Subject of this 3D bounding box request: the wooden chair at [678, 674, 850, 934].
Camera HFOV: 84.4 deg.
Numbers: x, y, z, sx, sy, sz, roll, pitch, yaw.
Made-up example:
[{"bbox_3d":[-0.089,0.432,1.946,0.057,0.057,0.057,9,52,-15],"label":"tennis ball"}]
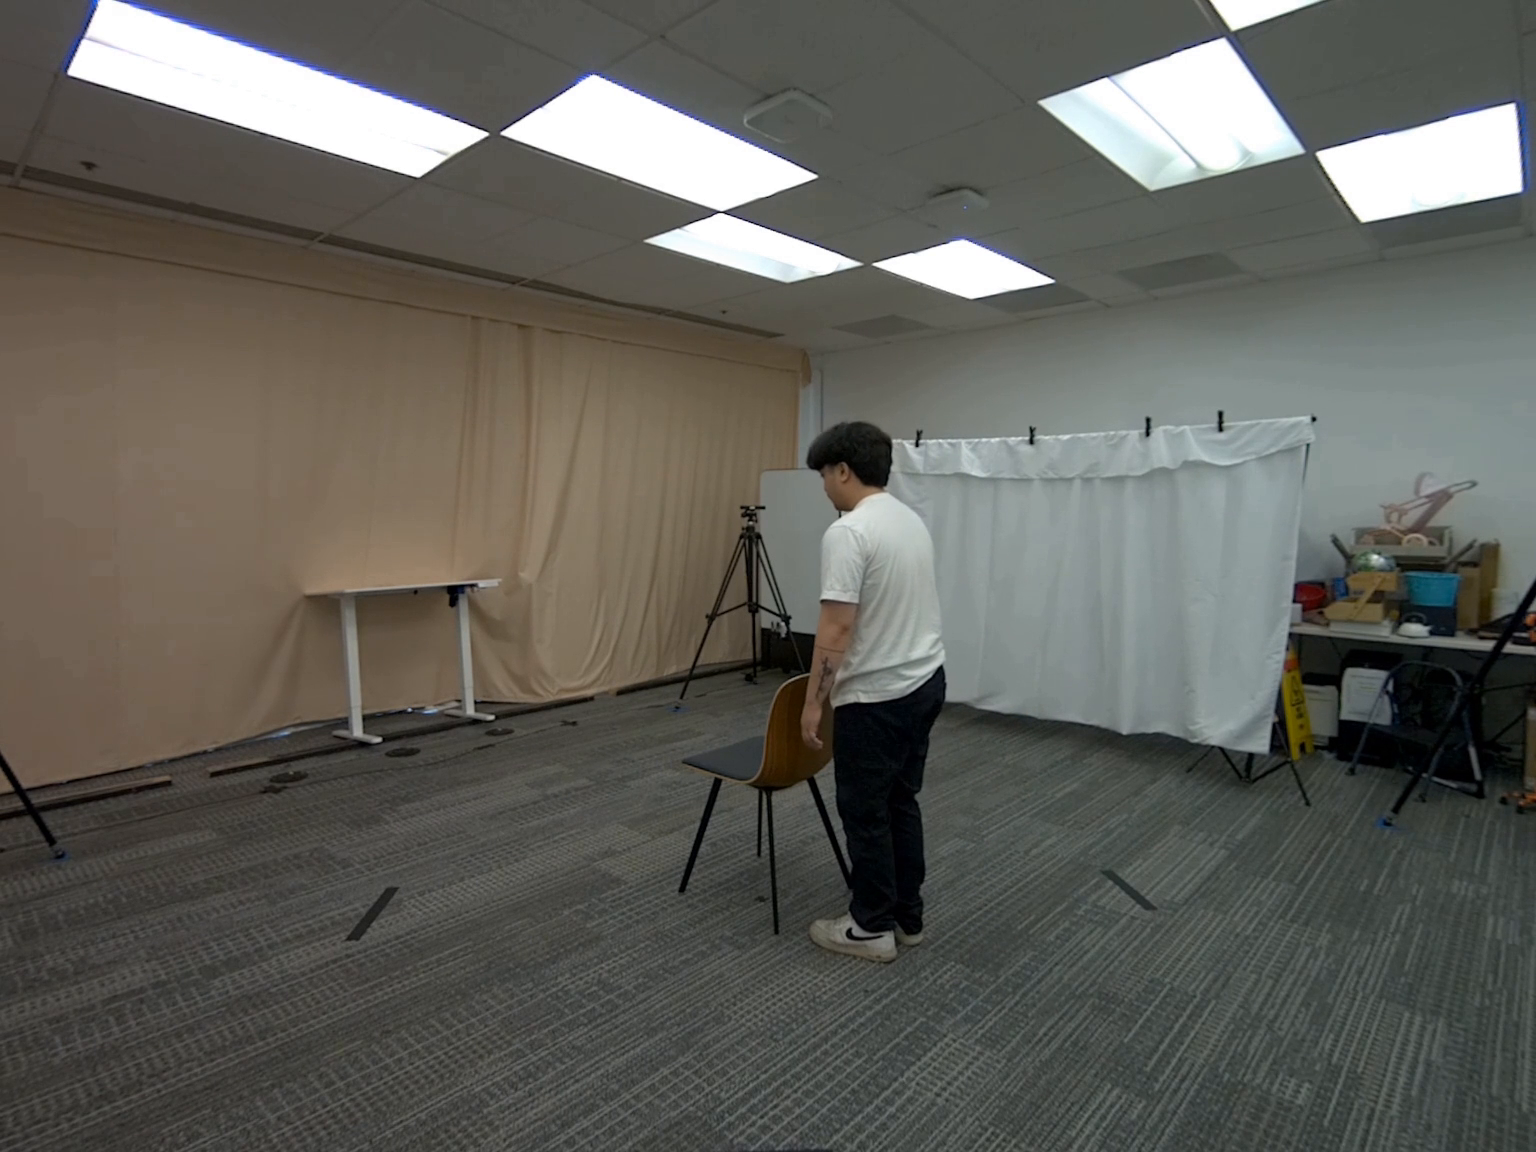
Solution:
[{"bbox_3d":[-0.014,0.713,3.025,0.541,0.874,0.463,8,8,41],"label":"wooden chair"}]
